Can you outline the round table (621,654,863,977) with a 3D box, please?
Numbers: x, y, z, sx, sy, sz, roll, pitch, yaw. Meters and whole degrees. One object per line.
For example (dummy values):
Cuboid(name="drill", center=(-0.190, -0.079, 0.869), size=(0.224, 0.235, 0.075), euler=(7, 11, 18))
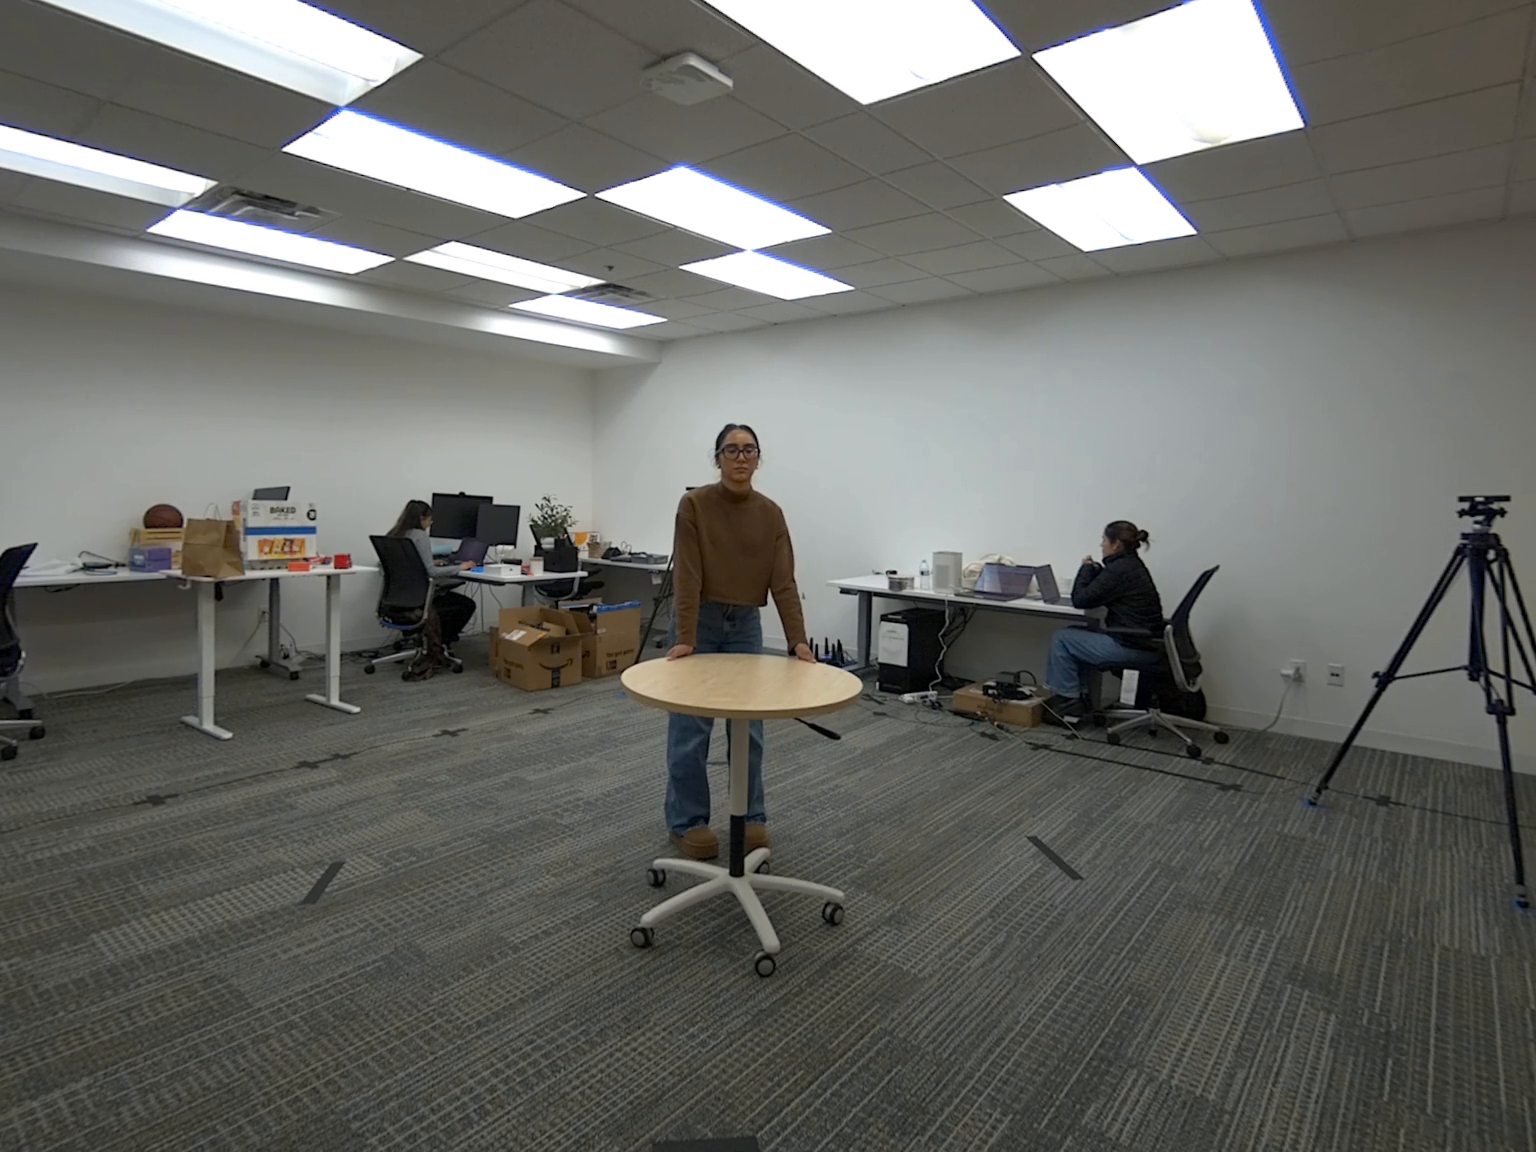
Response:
Cuboid(name="round table", center=(-0.114, 0.707, 2.755), size=(0.784, 0.784, 0.789), euler=(2, 4, -2))
